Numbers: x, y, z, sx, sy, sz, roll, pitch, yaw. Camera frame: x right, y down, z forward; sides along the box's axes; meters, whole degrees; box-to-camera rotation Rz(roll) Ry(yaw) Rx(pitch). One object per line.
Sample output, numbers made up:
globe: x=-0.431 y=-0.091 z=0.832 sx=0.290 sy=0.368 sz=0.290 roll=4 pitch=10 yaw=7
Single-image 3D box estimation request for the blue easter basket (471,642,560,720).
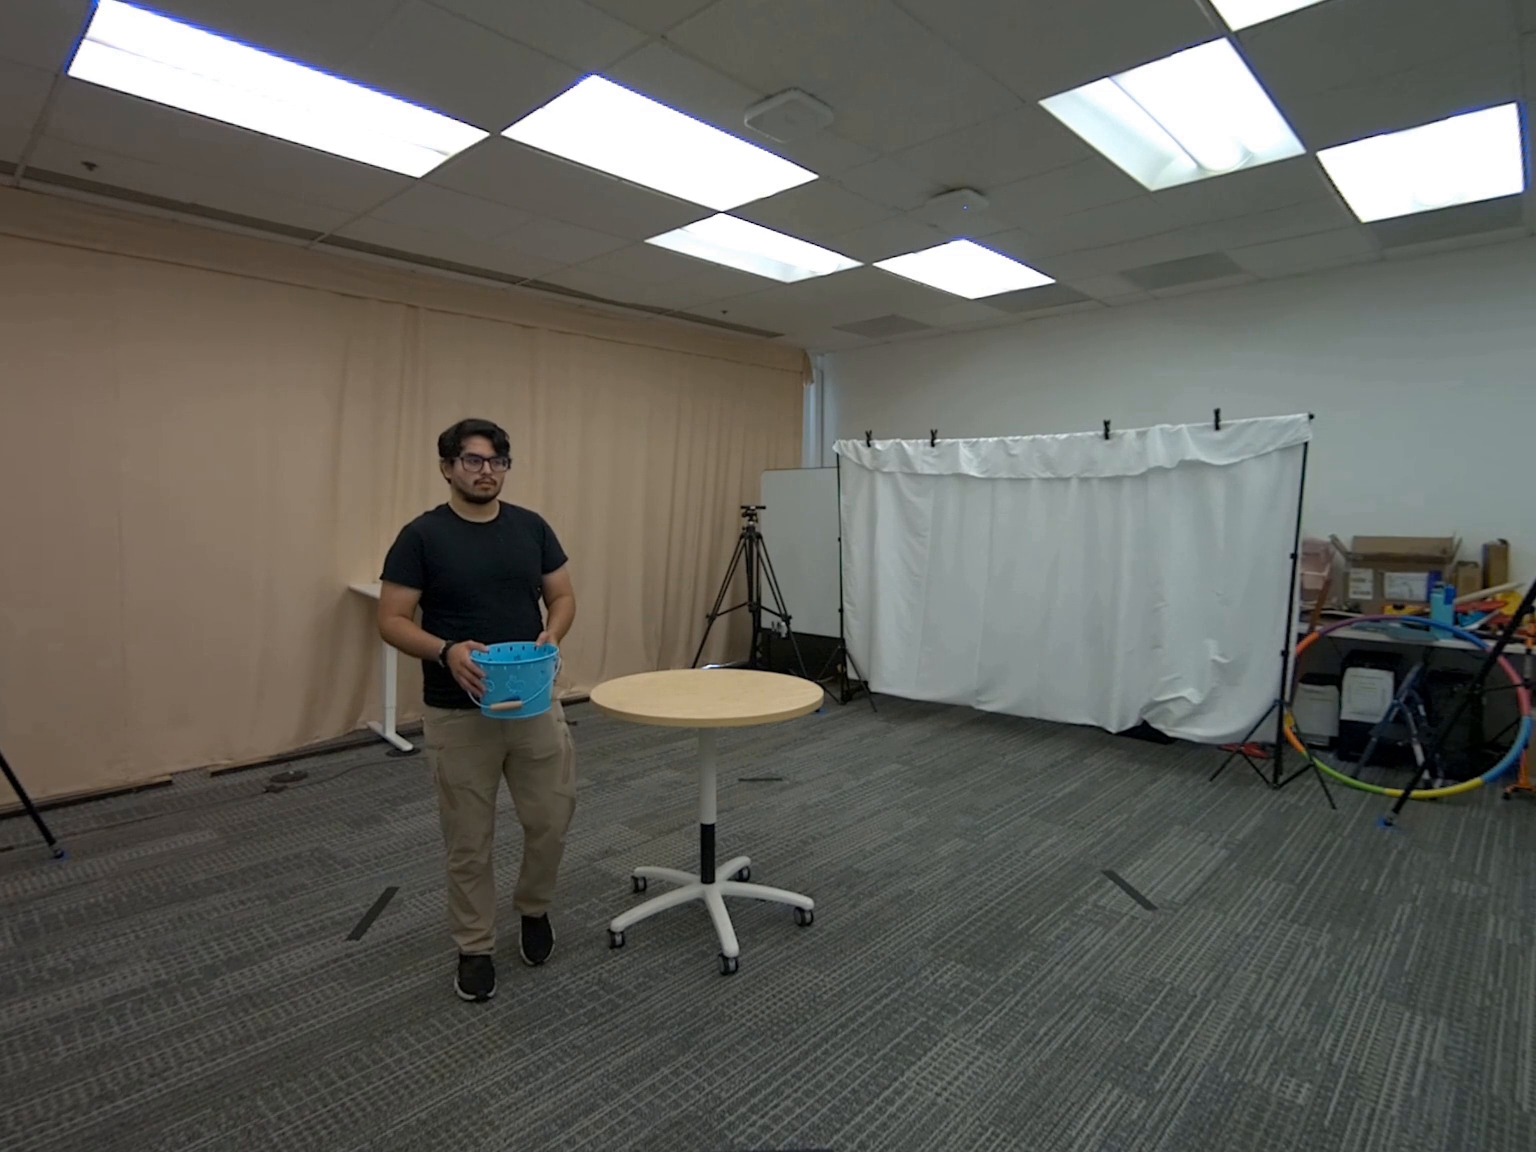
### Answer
blue easter basket: x=-0.676 y=0.281 z=2.183 sx=0.243 sy=0.155 sz=0.245 roll=-3 pitch=7 yaw=-1
